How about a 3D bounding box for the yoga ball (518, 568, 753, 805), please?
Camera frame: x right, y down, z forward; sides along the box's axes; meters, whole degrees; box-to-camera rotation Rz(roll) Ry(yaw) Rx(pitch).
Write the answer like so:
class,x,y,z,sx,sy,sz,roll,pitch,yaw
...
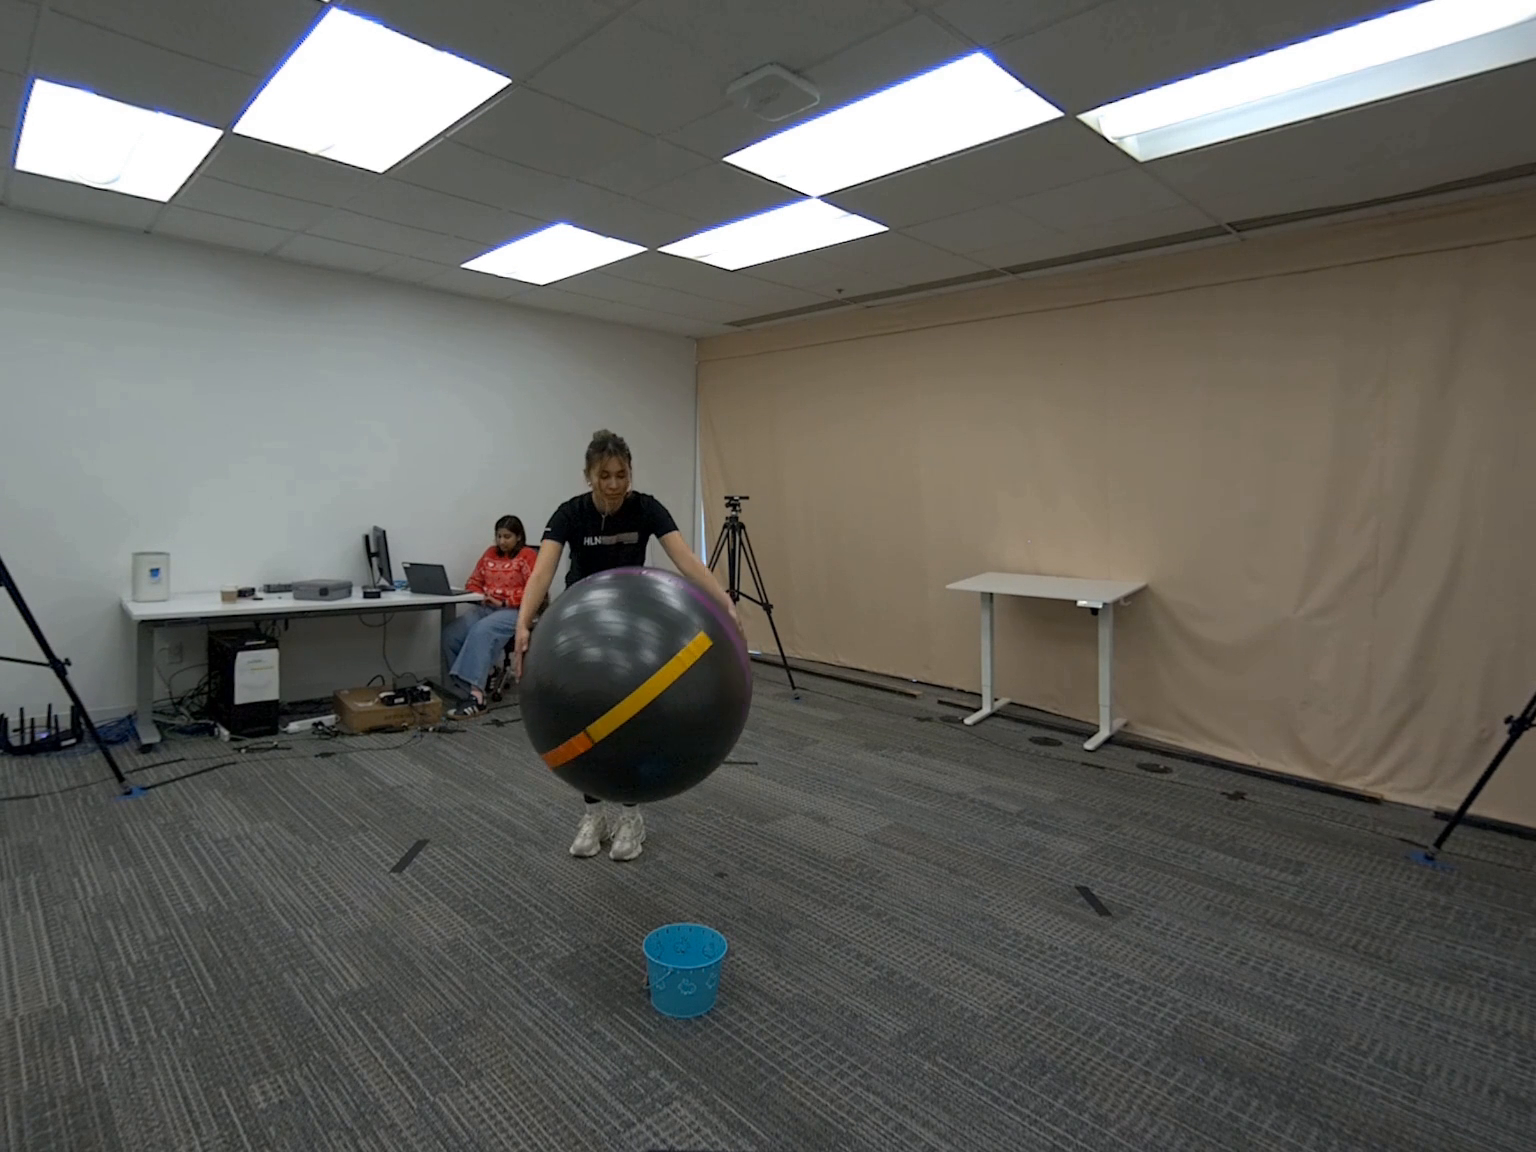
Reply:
class,x,y,z,sx,sy,sz,roll,pitch,yaw
yoga ball,-0.434,0.356,2.741,0.757,0.756,0.761,1,4,-1
